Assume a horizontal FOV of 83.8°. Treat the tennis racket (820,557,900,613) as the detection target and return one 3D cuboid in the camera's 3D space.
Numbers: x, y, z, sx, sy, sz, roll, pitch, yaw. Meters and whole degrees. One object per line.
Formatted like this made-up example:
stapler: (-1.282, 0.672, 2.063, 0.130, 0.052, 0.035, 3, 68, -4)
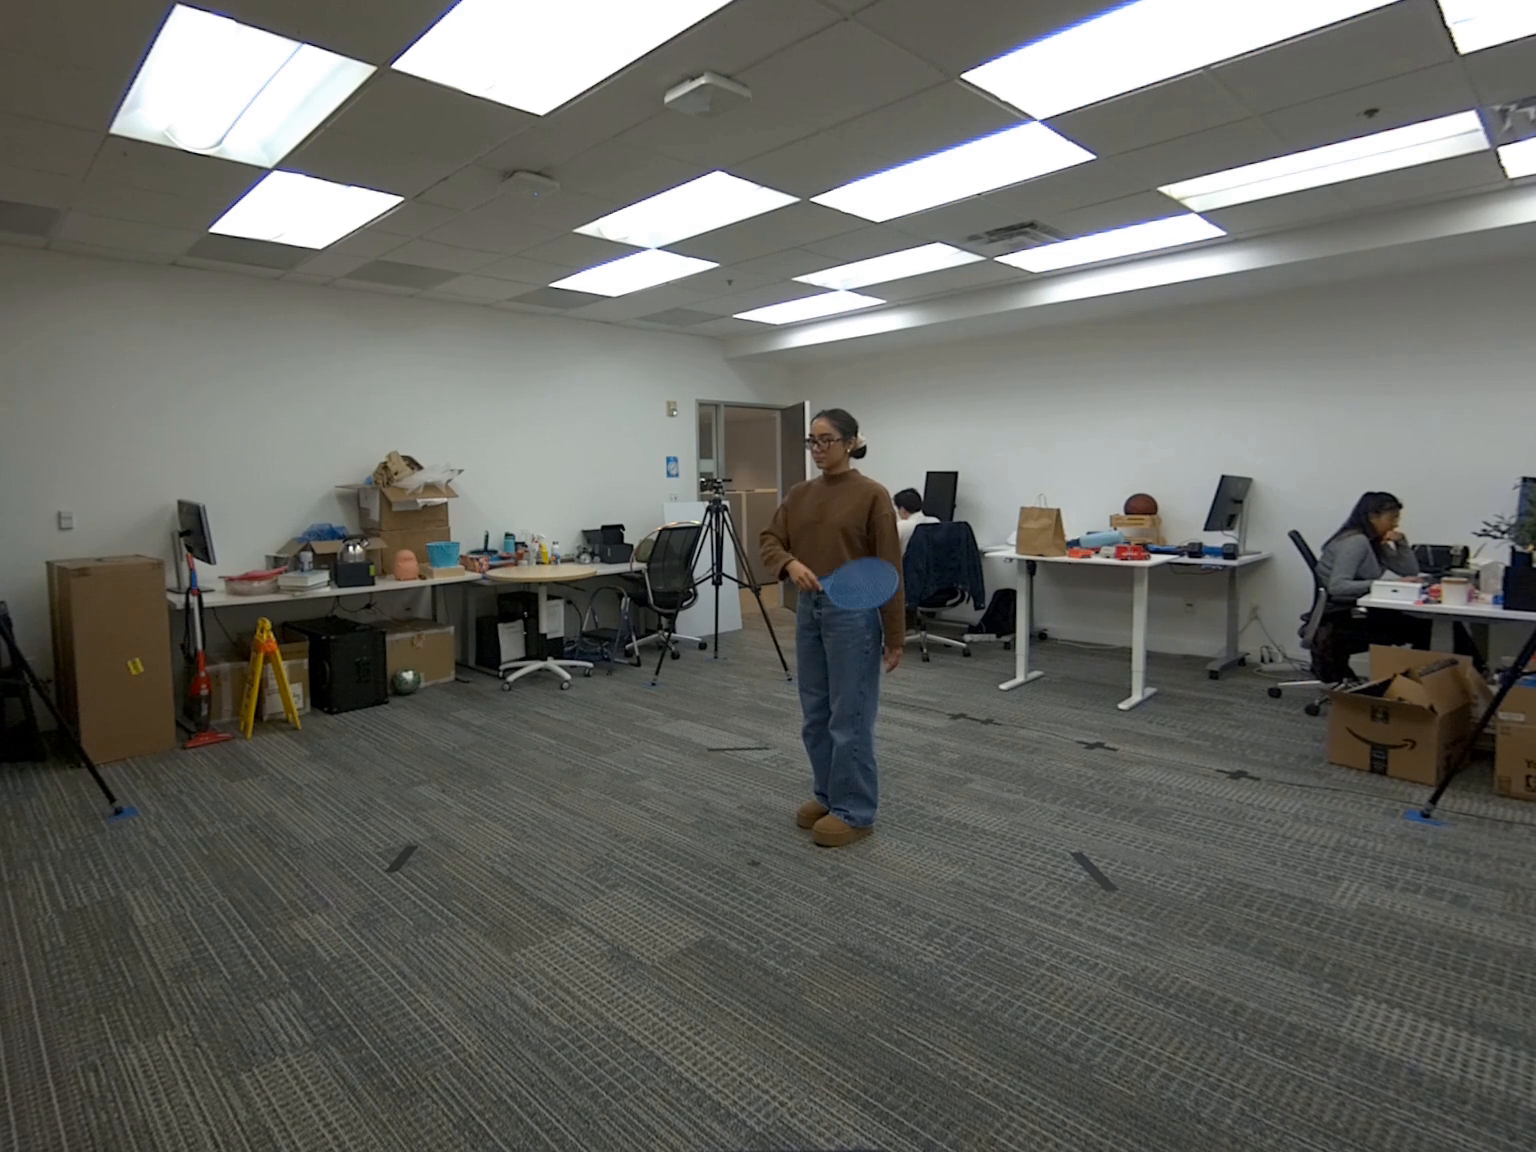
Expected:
tennis racket: (0.230, 0.039, 3.014, 0.443, 0.217, 0.030, -6, -38, 31)
